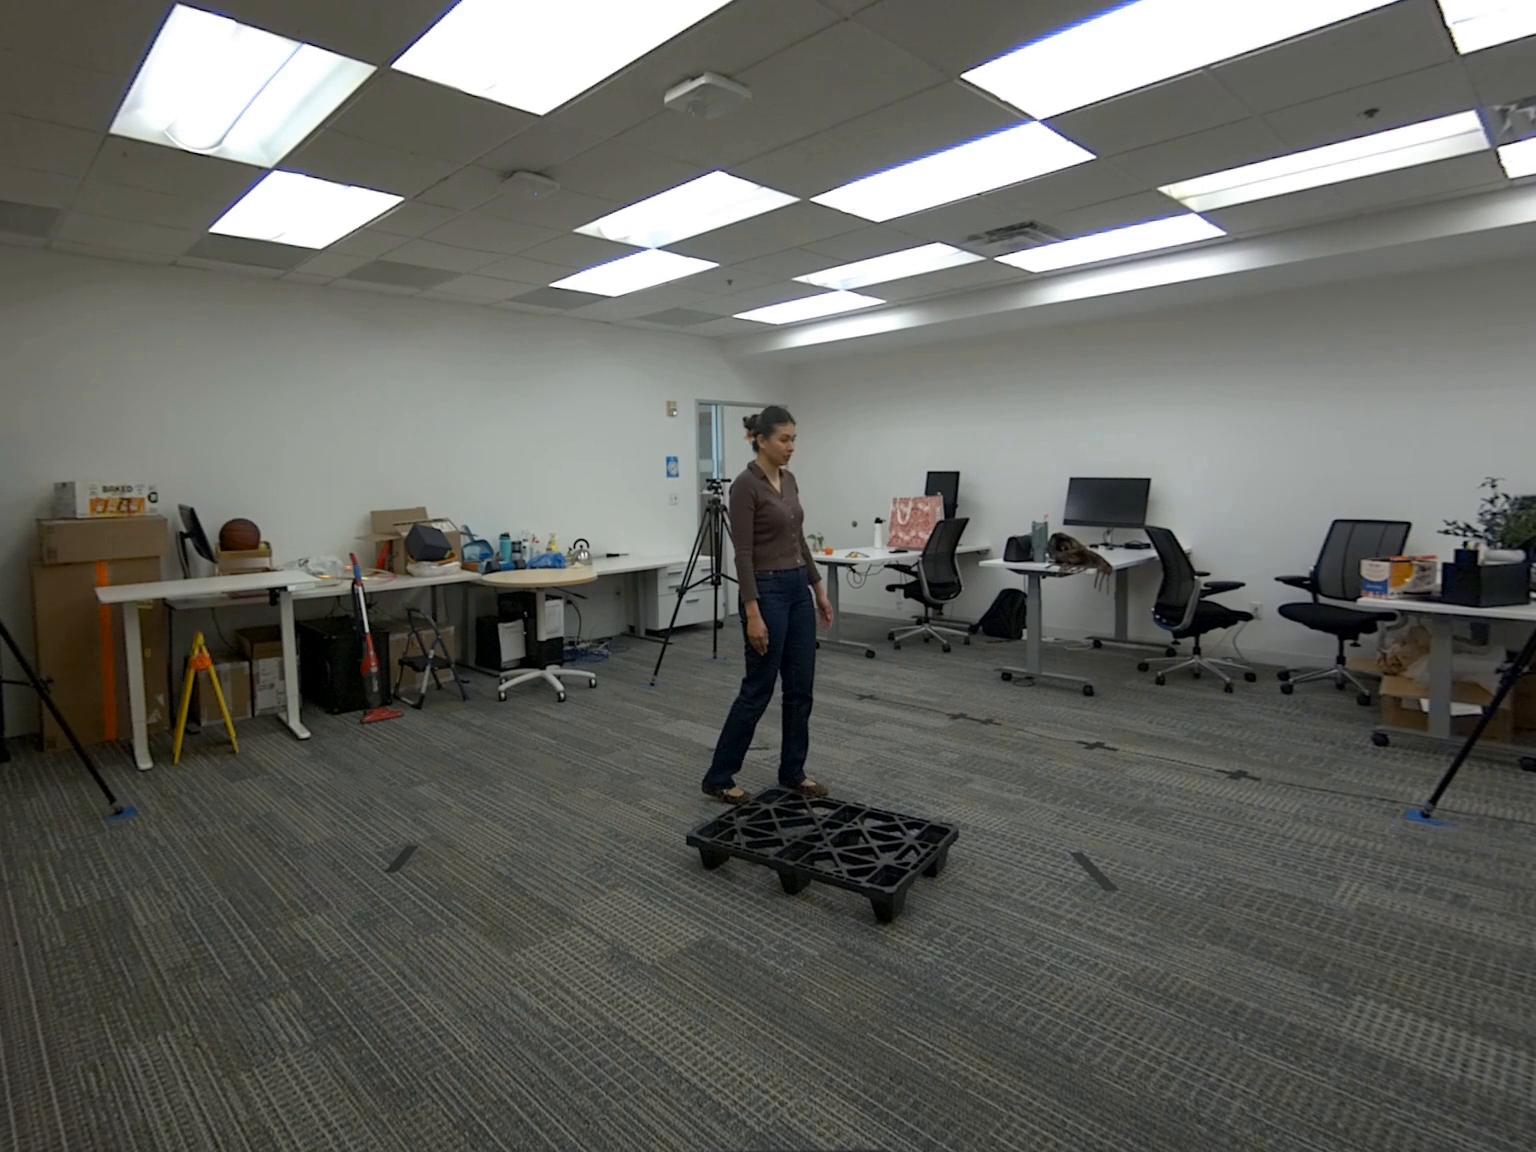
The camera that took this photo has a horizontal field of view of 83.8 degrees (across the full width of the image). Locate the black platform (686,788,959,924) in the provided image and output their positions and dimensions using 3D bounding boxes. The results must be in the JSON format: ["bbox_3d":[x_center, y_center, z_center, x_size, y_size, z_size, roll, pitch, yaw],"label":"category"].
[{"bbox_3d":[0.199,0.976,3.062,0.828,0.142,0.591,3,8,34],"label":"black platform"}]
